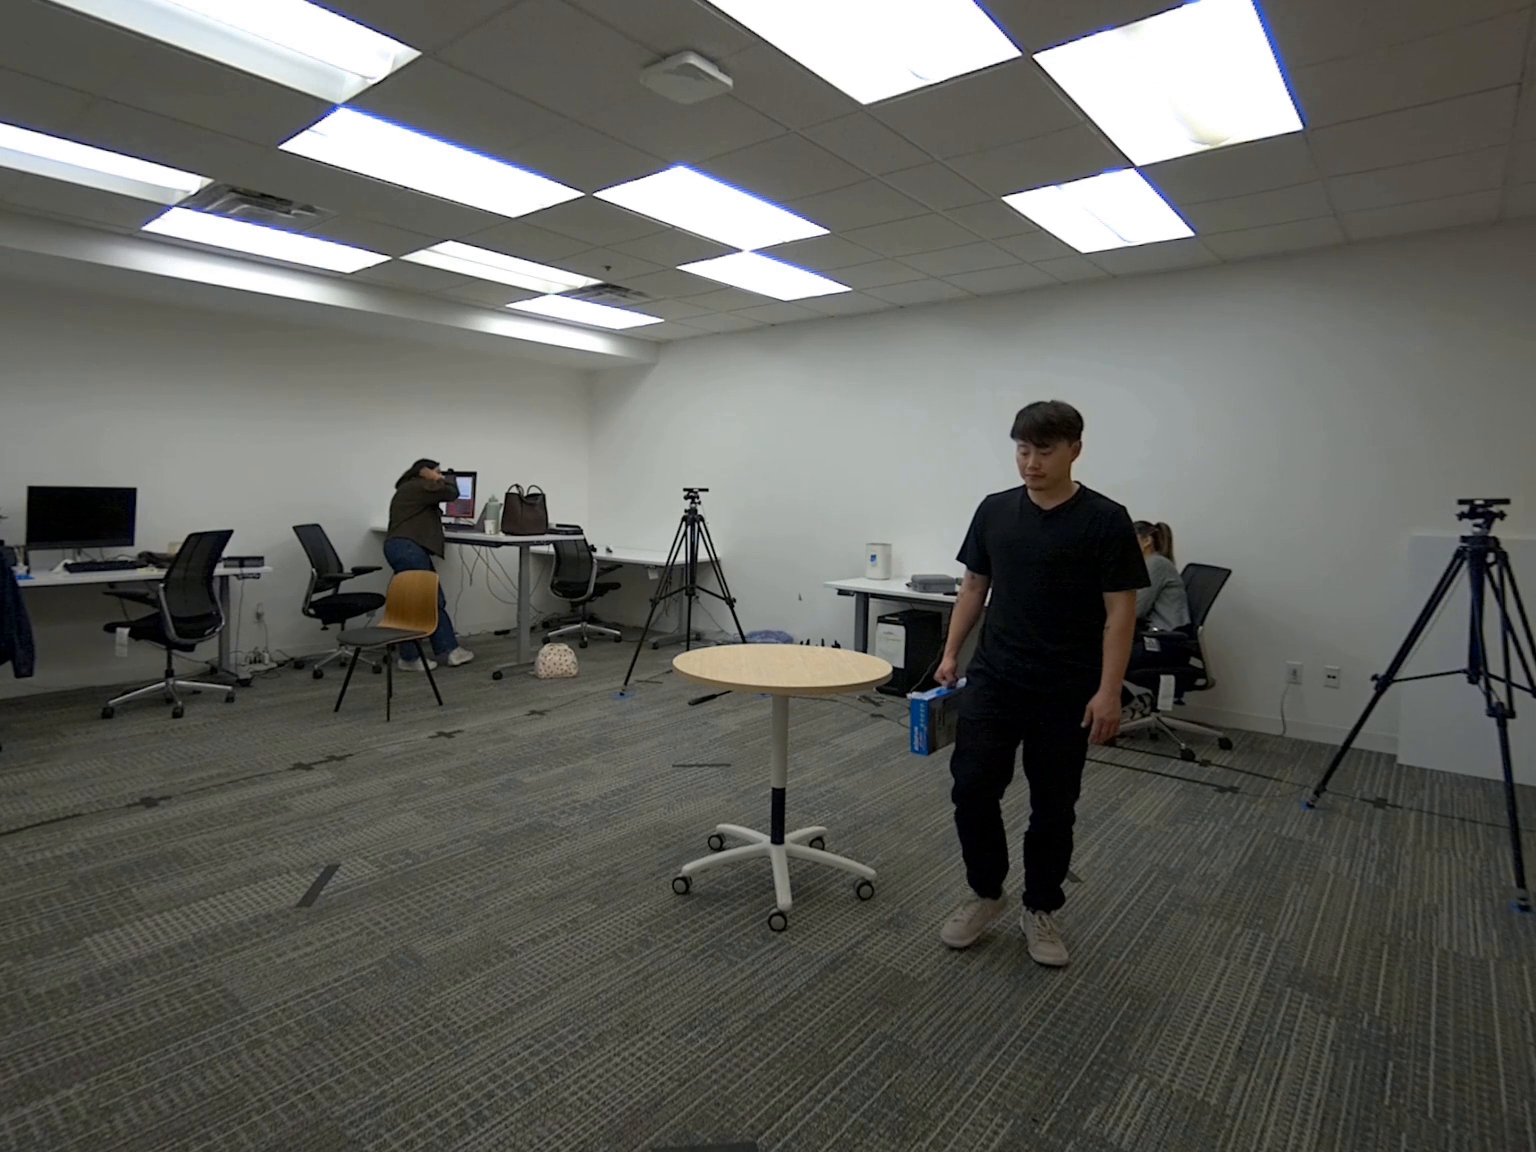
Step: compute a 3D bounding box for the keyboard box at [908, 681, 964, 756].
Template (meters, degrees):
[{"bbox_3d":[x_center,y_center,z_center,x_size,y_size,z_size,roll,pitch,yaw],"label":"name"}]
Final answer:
[{"bbox_3d":[0.585,0.448,2.761,0.061,0.175,0.424,1,4,40],"label":"keyboard box"}]
